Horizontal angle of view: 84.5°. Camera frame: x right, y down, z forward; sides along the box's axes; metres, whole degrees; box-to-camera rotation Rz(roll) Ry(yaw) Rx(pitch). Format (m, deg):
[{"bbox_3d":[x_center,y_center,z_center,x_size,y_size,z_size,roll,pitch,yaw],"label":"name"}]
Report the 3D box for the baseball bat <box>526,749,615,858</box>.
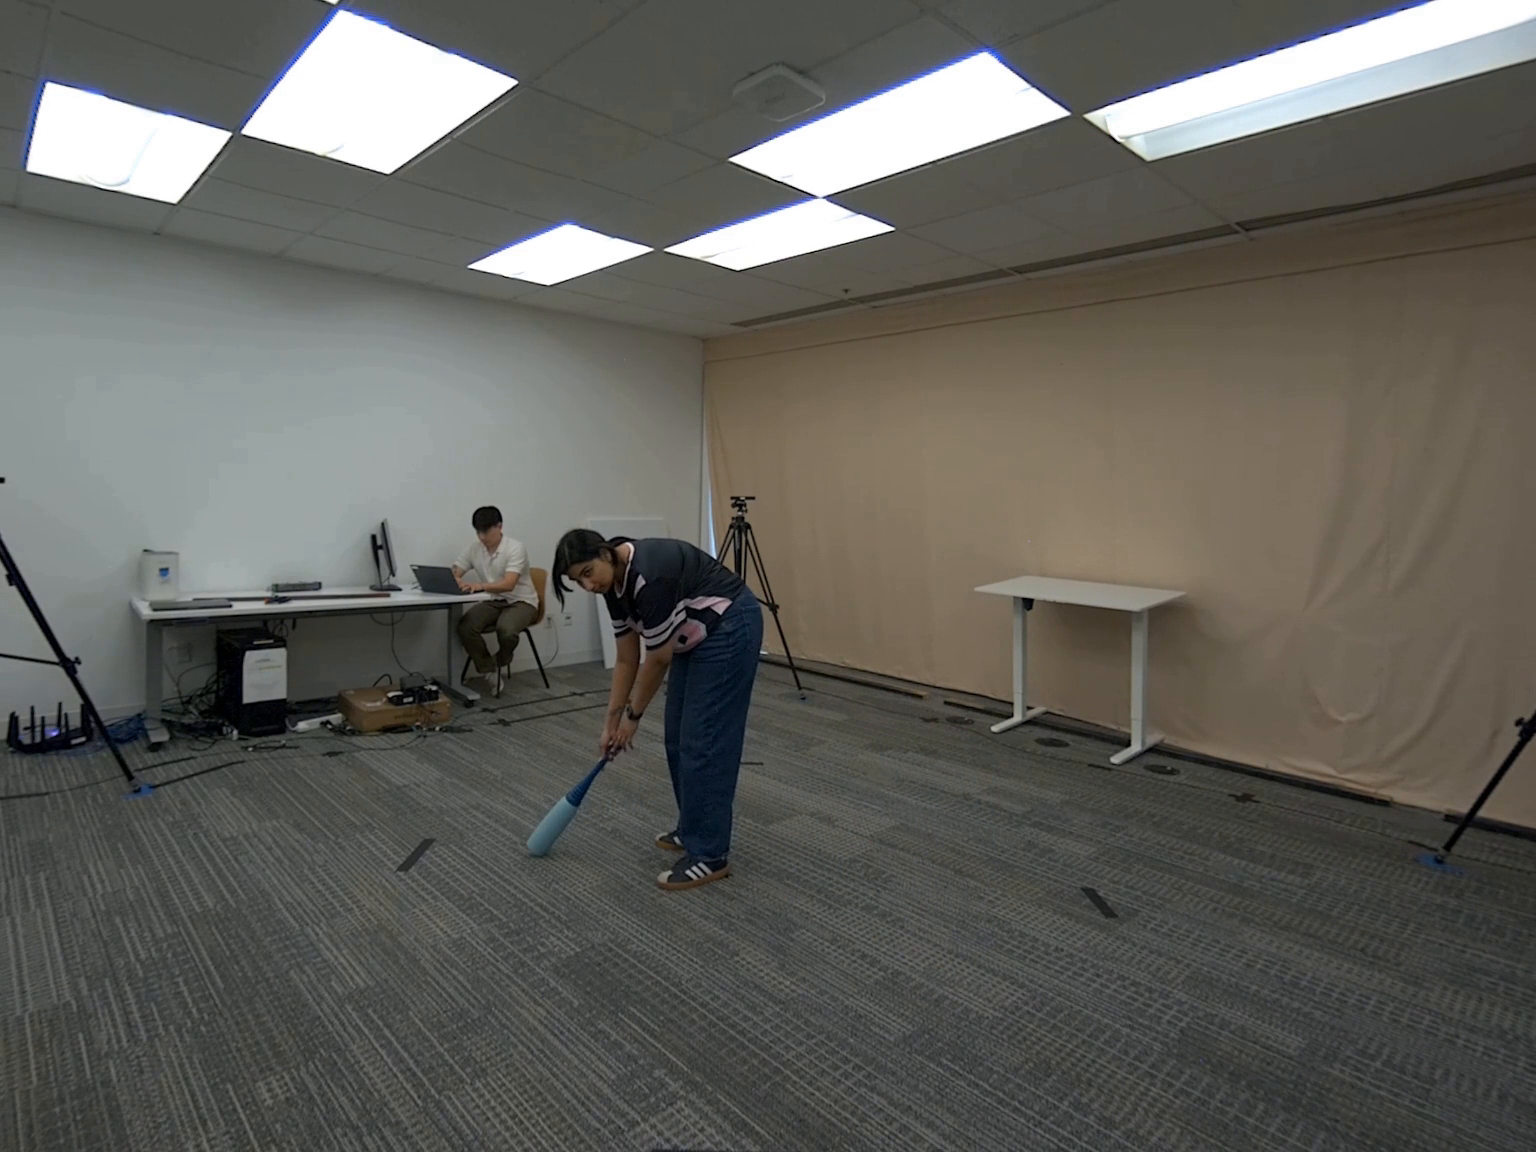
[{"bbox_3d":[-0.727,0.845,3.220,0.088,0.543,0.090,39,7,-8],"label":"baseball bat"}]
